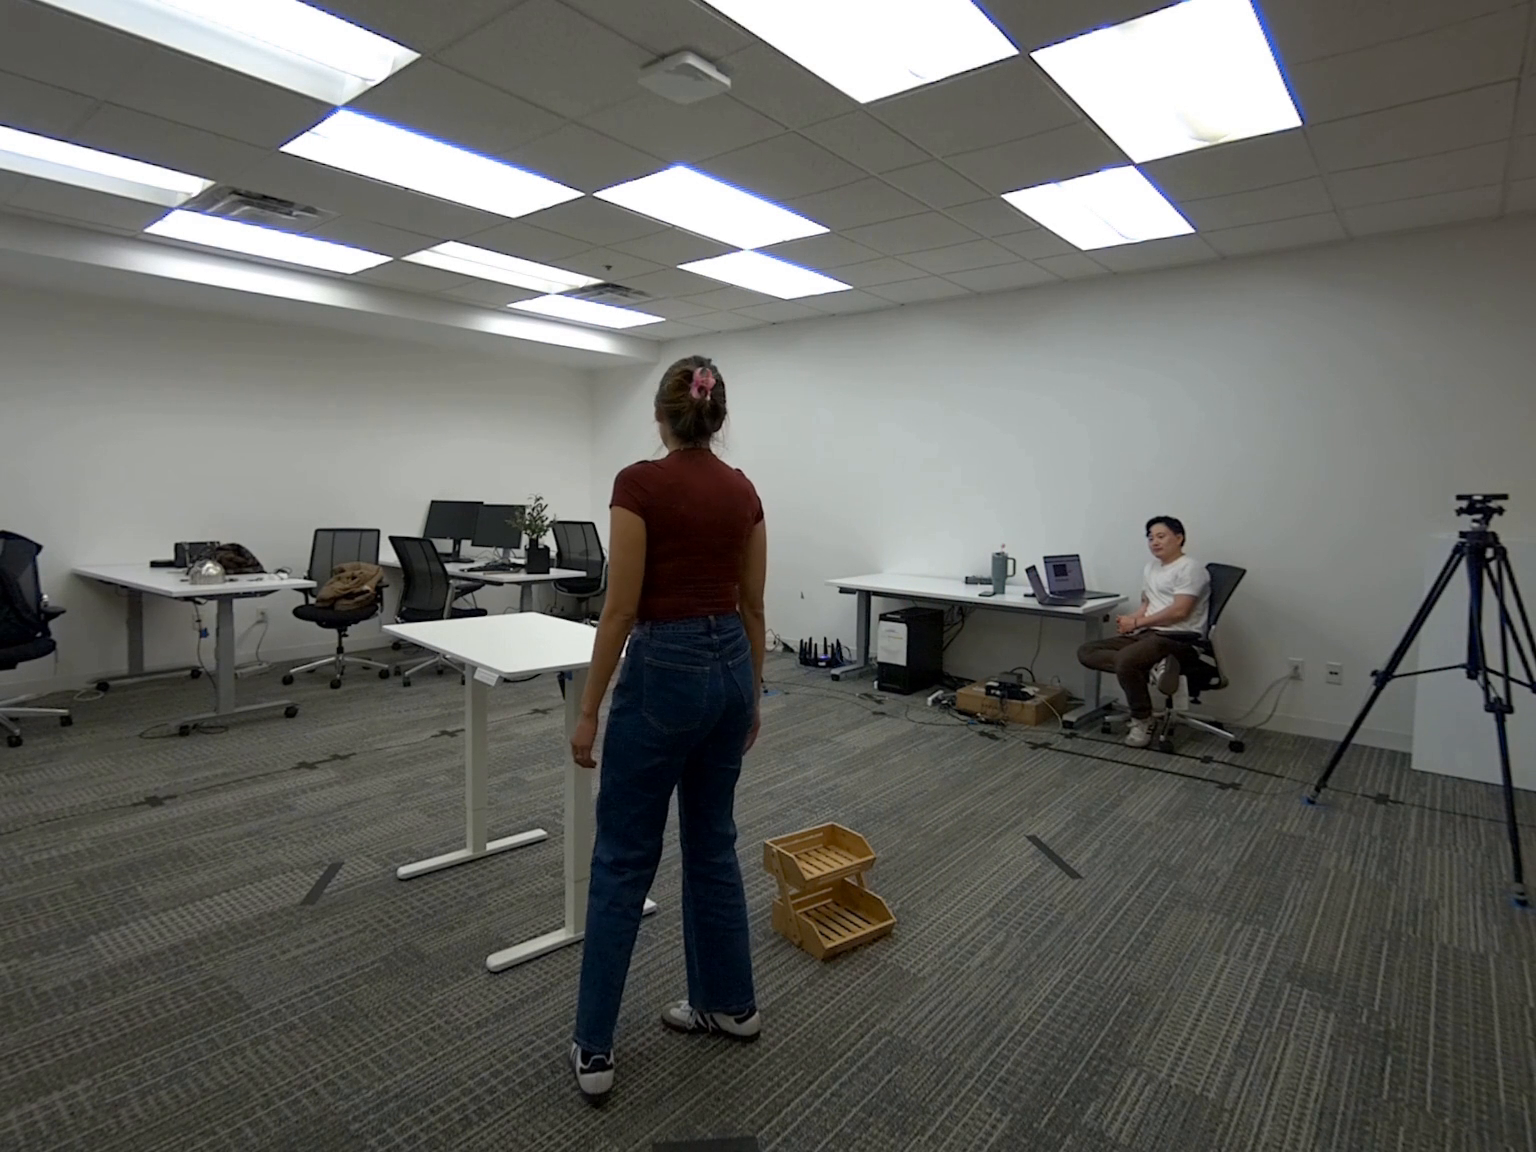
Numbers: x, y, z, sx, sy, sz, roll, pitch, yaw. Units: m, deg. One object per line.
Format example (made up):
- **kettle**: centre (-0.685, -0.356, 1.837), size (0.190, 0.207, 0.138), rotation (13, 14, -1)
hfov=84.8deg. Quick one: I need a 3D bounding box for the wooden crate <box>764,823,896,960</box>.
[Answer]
- **wooden crate**: centre (0.189, 0.978, 2.691), size (0.315, 0.272, 0.312), rotation (-2, 5, -37)
